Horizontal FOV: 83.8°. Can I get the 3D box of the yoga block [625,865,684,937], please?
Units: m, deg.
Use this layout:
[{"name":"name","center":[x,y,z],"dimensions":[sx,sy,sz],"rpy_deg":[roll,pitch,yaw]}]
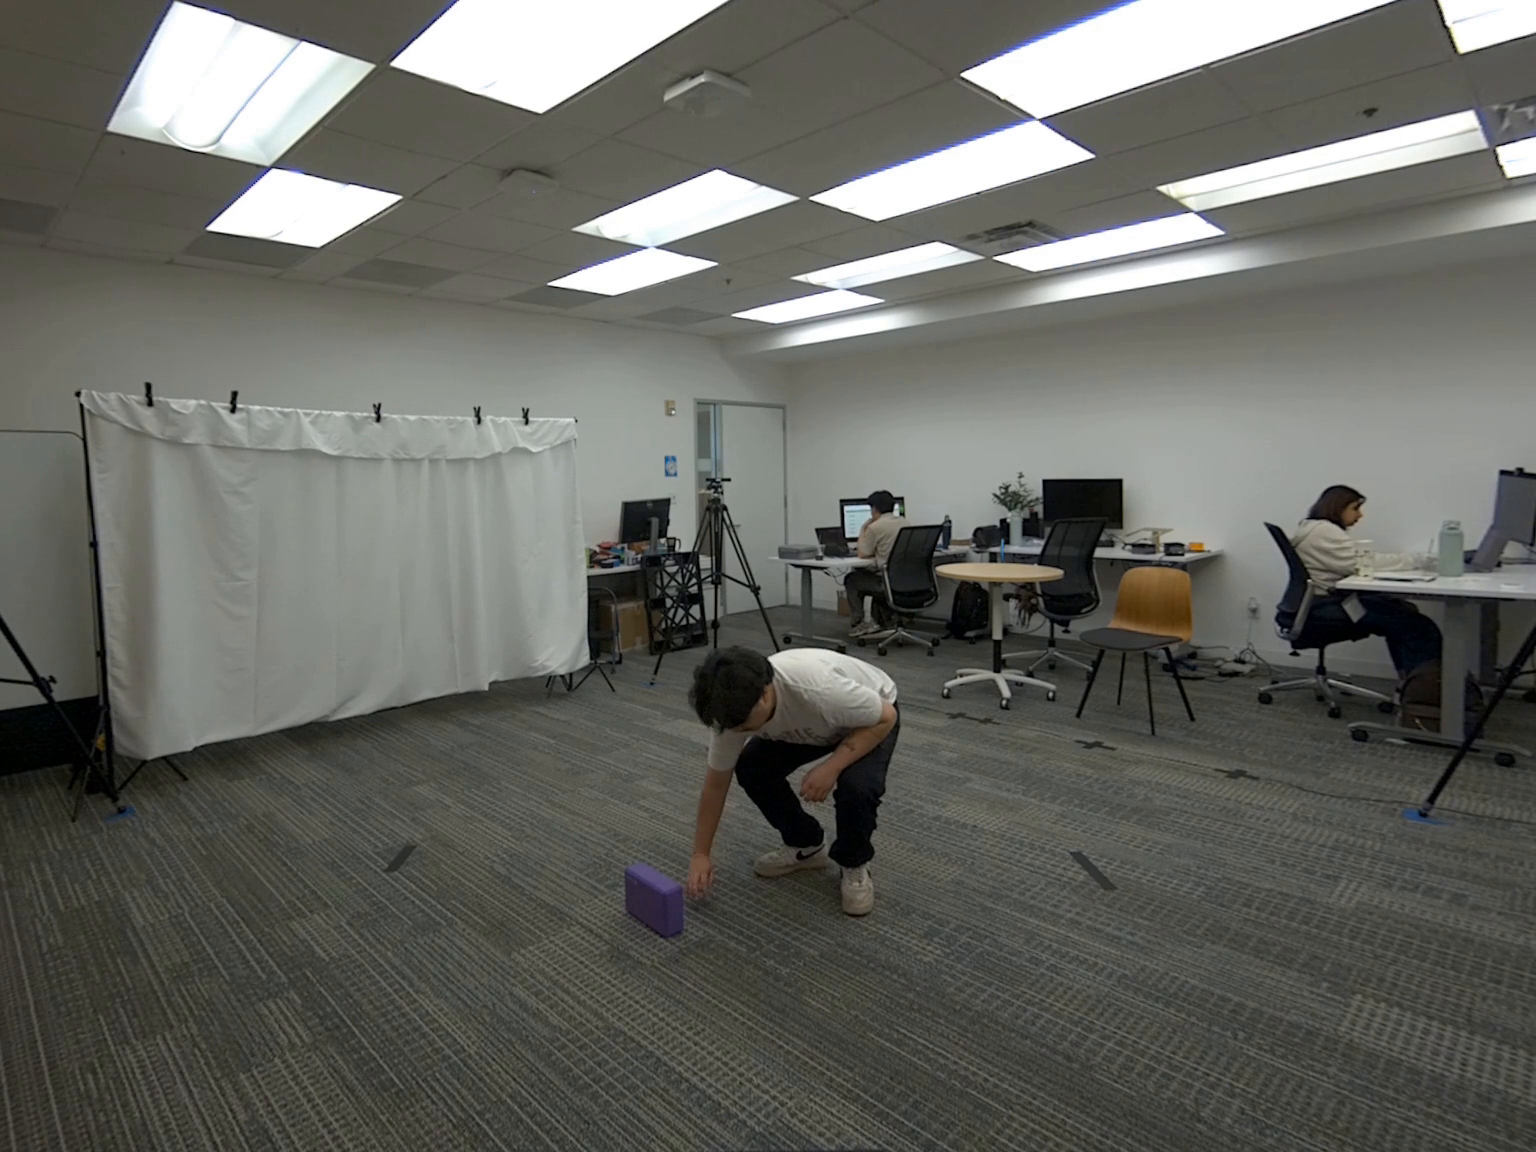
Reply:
[{"name":"yoga block","center":[-0.355,1.020,2.703],"dimensions":[0.074,0.148,0.236],"rpy_deg":[-7,7,-42]}]
